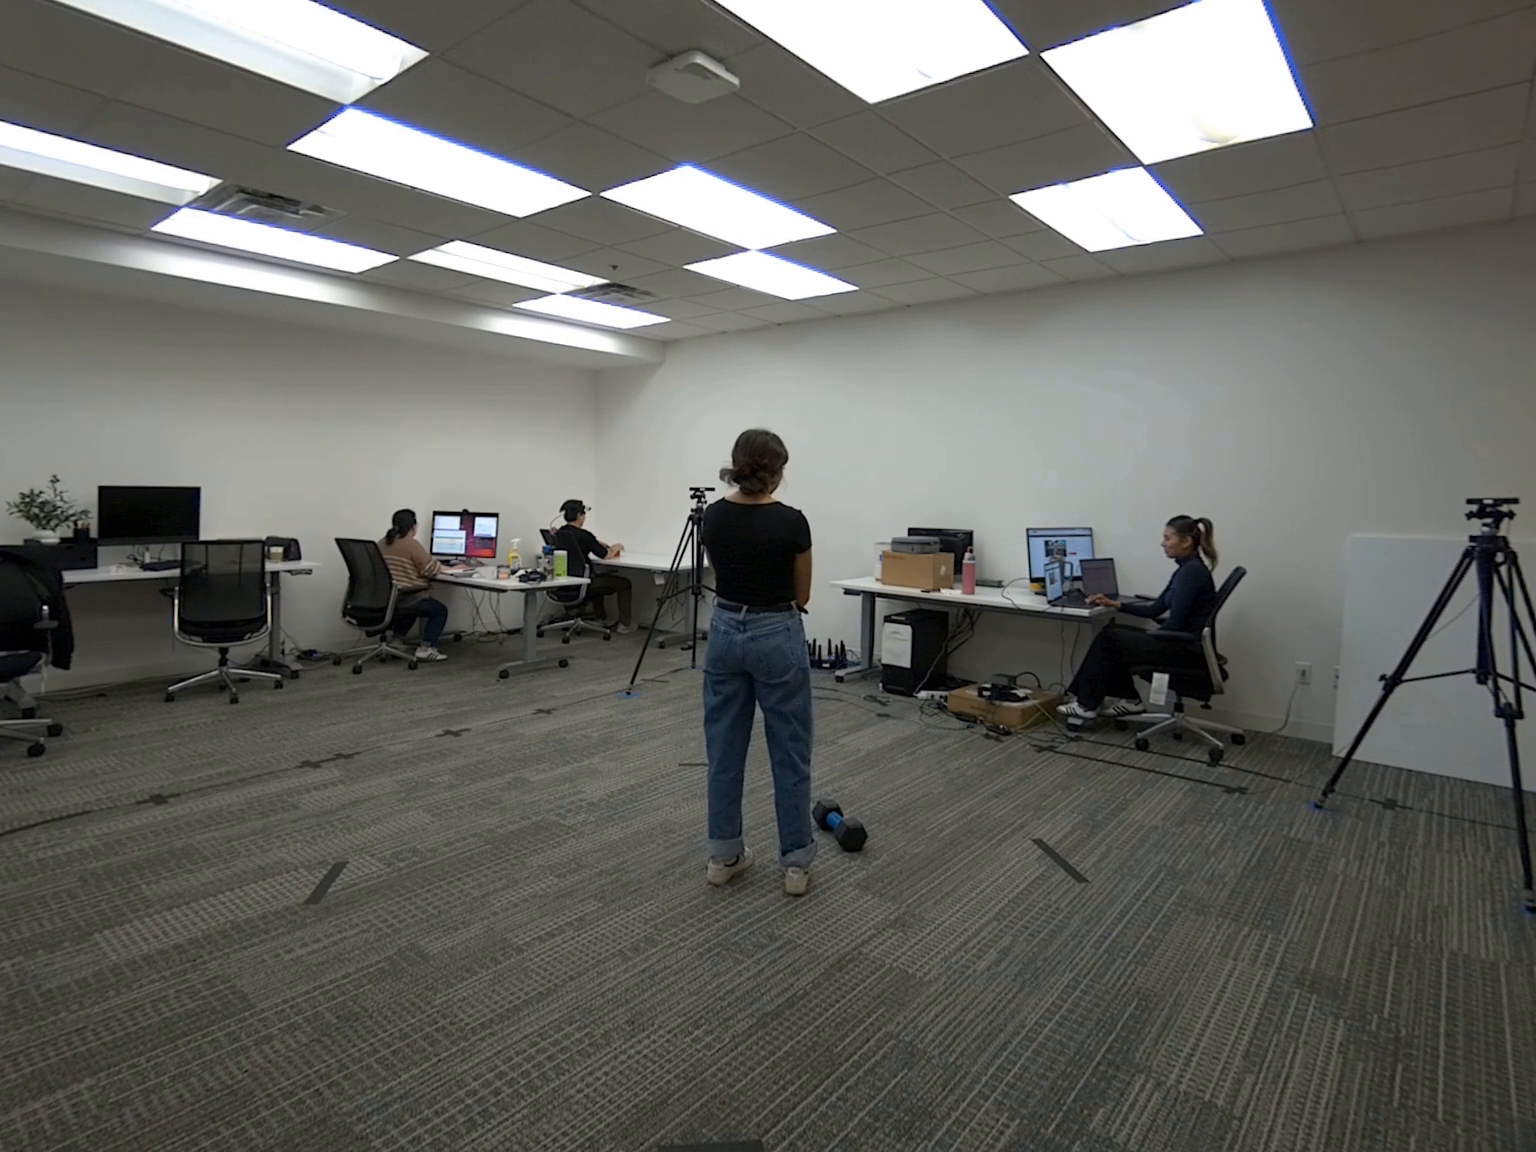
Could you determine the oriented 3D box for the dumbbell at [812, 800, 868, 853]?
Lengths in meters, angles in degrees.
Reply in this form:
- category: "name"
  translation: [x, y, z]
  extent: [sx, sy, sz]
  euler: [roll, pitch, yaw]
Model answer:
- category: "dumbbell"
  translation: [0.279, 0.993, 3.413]
  extent: [0.106, 0.123, 0.300]
  euler: [32, -6, -20]
